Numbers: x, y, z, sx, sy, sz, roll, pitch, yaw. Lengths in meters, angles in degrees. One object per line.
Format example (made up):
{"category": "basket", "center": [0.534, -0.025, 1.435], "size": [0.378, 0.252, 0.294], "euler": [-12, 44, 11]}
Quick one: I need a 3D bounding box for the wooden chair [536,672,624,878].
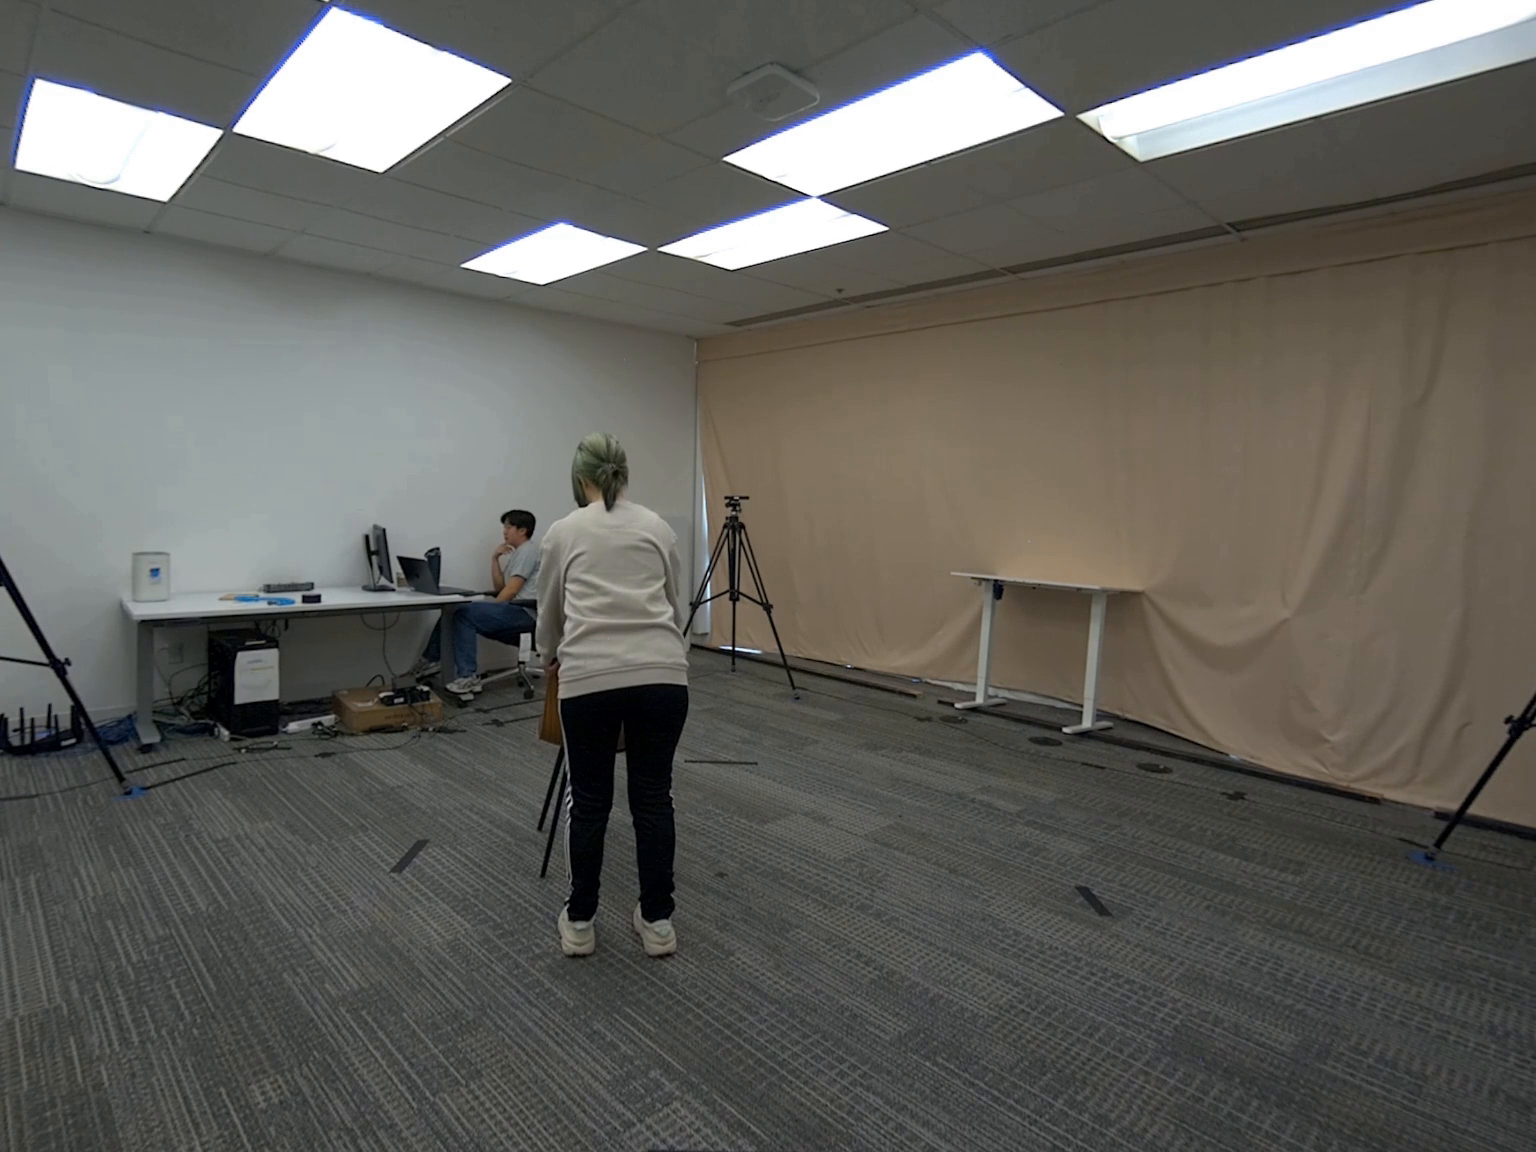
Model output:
{"category": "wooden chair", "center": [-0.661, 0.652, 3.295], "size": [0.472, 0.873, 0.532], "euler": [0, 8, -16]}
